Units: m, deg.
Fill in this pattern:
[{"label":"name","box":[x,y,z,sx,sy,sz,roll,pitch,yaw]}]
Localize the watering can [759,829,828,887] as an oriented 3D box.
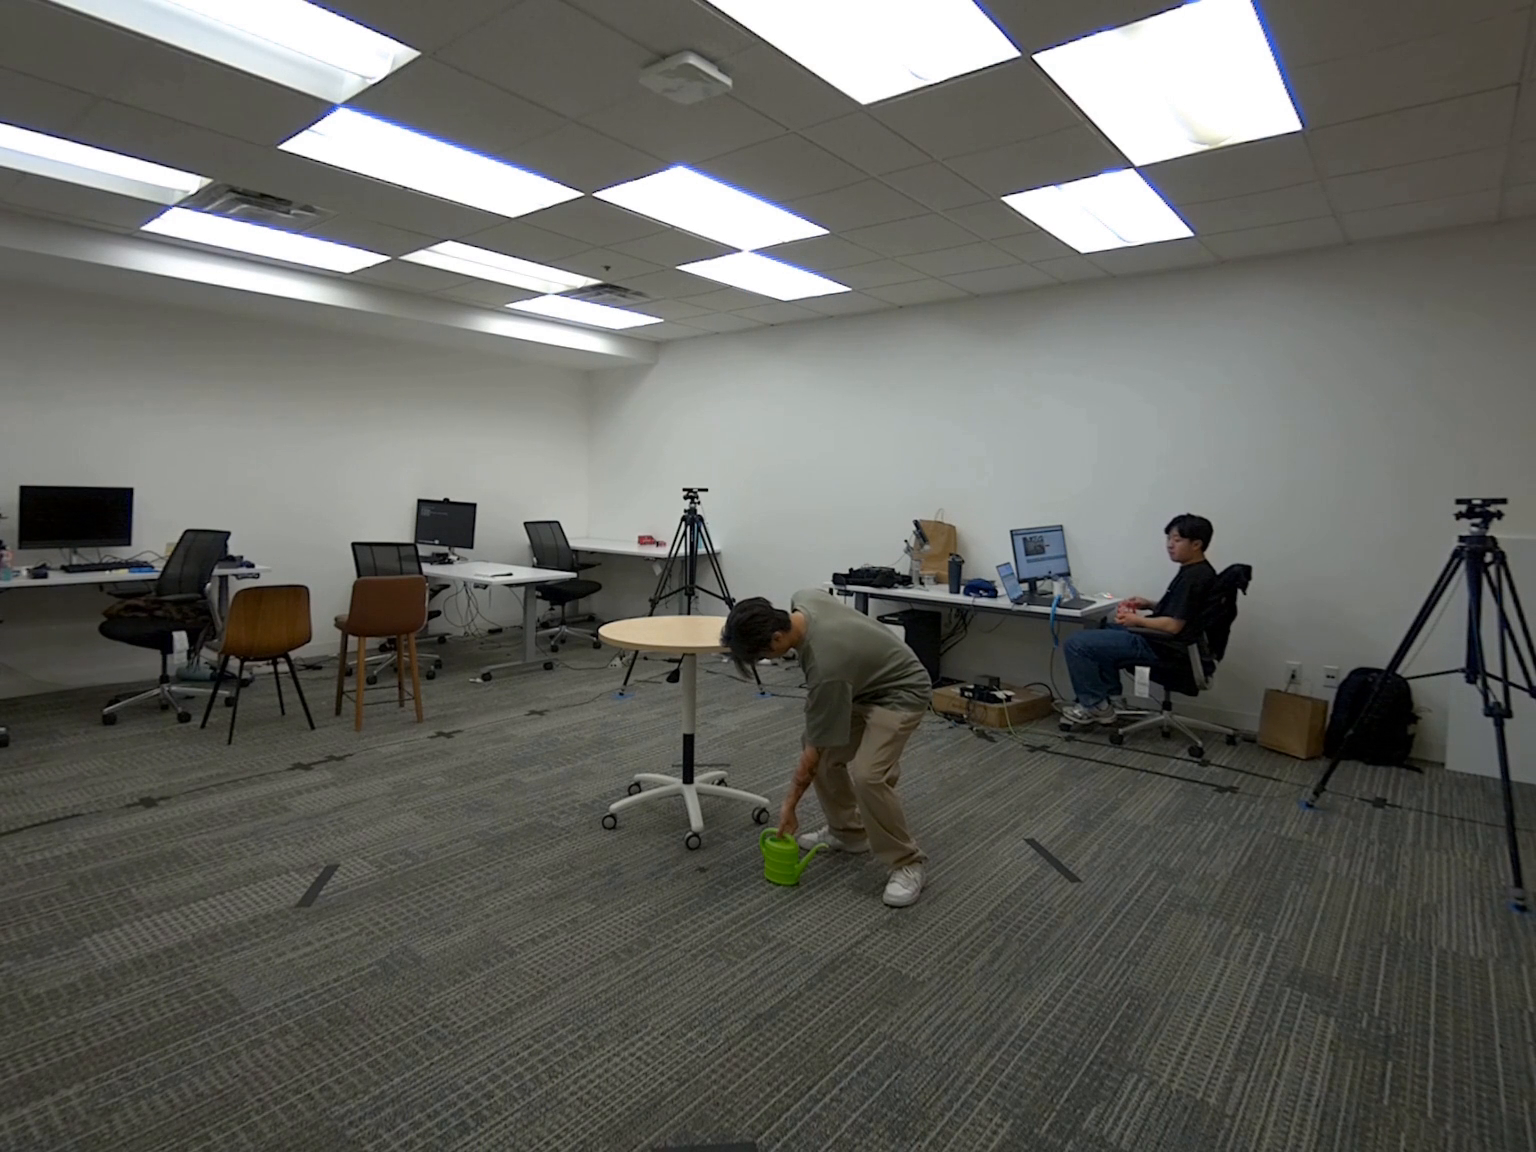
[{"label":"watering can","box":[0.071,0.991,3.010,0.095,0.176,0.288,-2,4,-42]}]
